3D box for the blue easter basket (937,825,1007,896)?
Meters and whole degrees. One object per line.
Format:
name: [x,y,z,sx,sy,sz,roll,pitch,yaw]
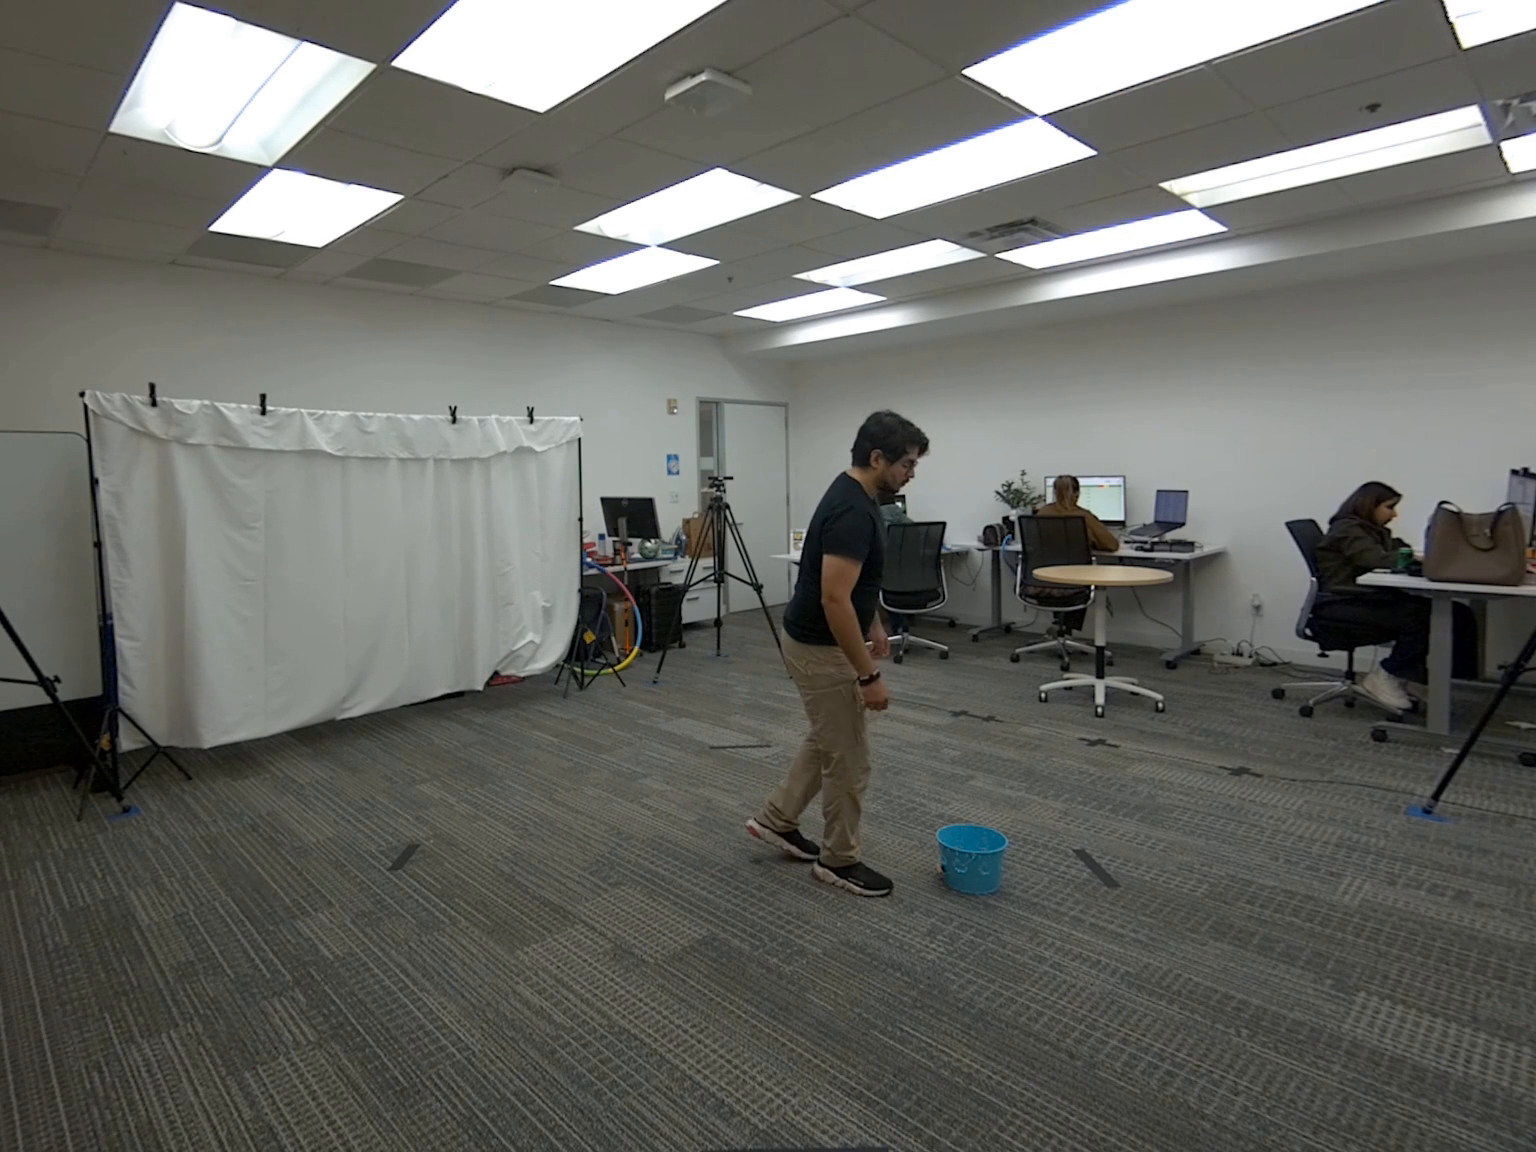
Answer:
blue easter basket: [0.691,0.961,2.918,0.243,0.155,0.245,-1,6,-2]
